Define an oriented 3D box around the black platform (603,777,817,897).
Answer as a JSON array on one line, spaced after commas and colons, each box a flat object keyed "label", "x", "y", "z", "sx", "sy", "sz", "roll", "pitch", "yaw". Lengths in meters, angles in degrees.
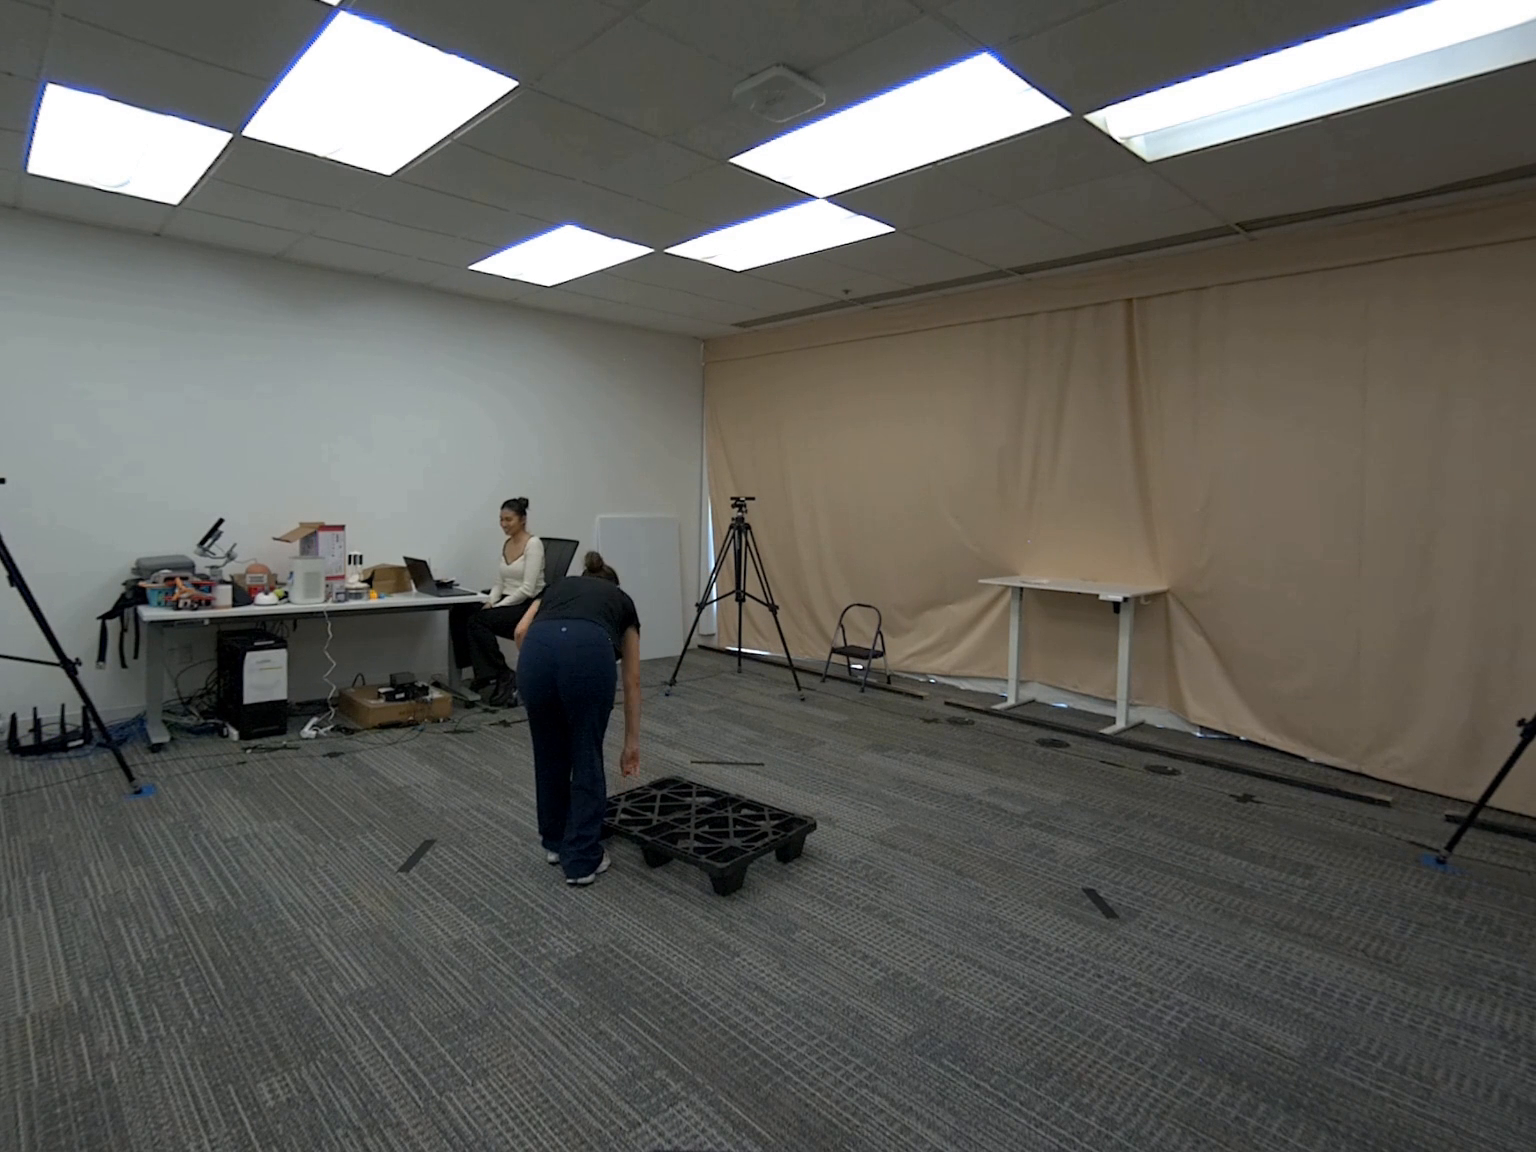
[{"label": "black platform", "x": -0.300, "y": 1.018, "z": 3.328, "sx": 0.825, "sy": 0.143, "sz": 0.592, "roll": 5, "pitch": 7, "yaw": 38}]
